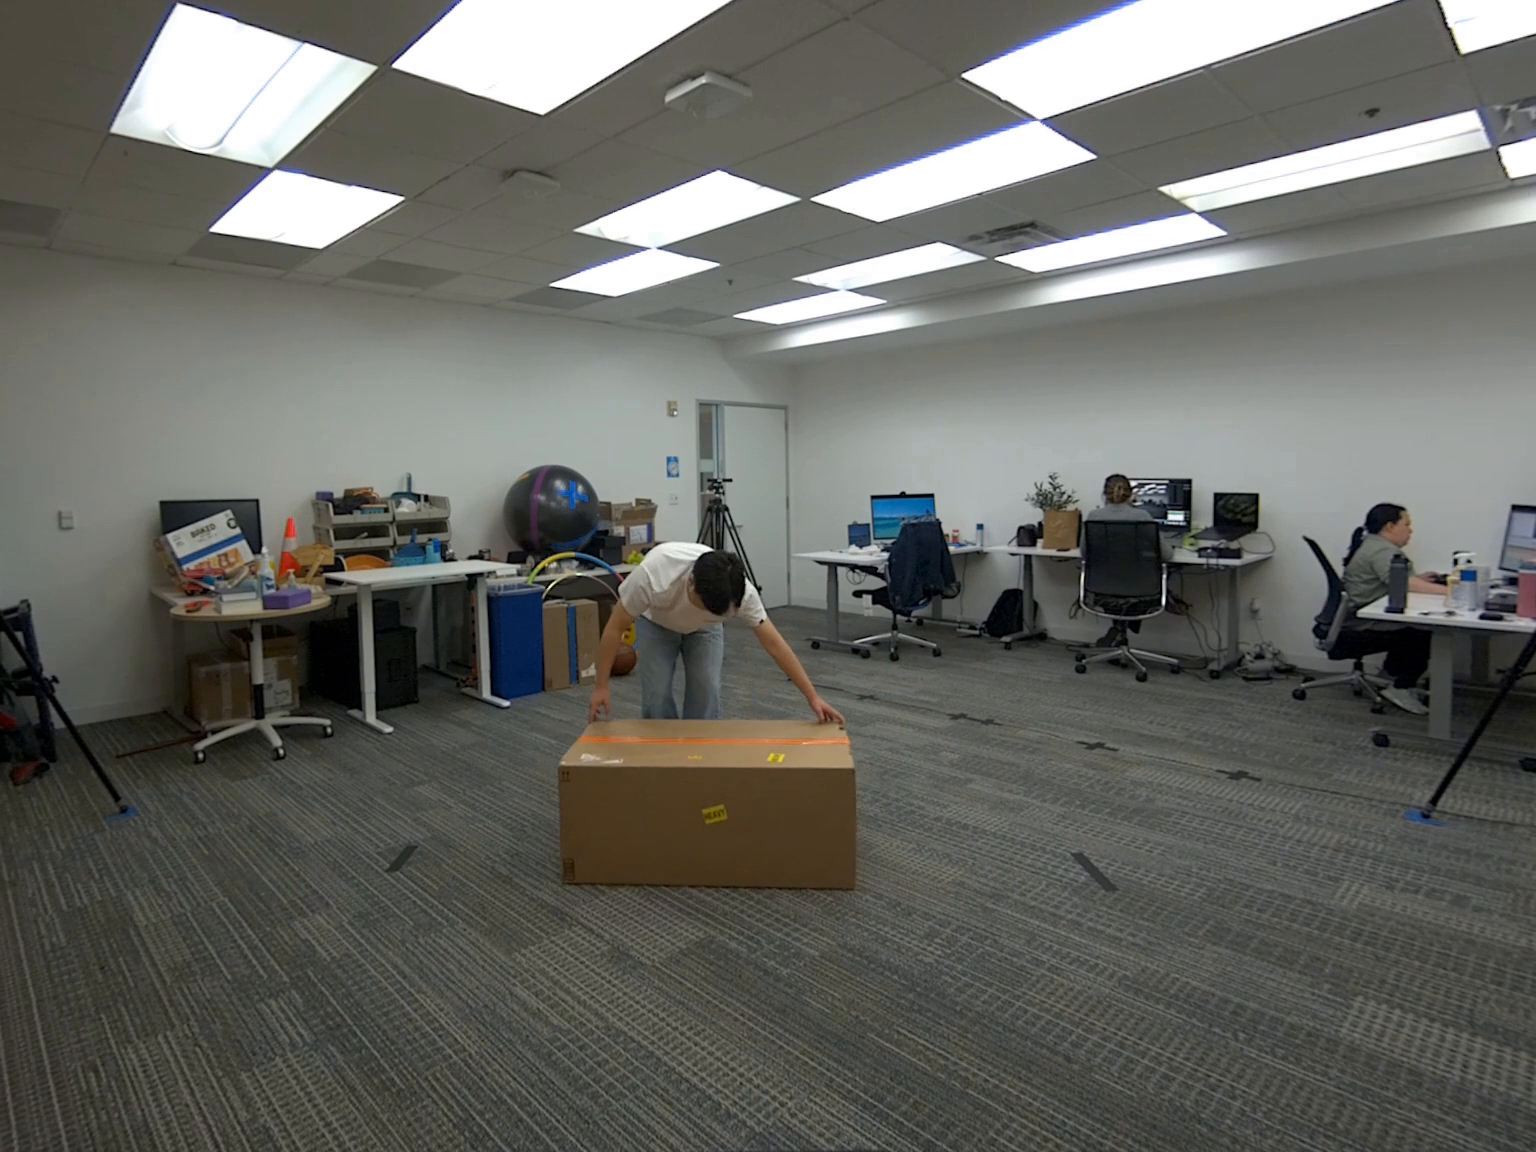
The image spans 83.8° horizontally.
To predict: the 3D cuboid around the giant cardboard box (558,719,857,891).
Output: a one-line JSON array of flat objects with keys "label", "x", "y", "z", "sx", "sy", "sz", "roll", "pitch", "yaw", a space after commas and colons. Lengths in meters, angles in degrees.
[{"label": "giant cardboard box", "x": -0.206, "y": 0.821, "z": 3.197, "sx": 1.030, "sy": 0.424, "sz": 0.578, "roll": -1, "pitch": 6, "yaw": 4}]
